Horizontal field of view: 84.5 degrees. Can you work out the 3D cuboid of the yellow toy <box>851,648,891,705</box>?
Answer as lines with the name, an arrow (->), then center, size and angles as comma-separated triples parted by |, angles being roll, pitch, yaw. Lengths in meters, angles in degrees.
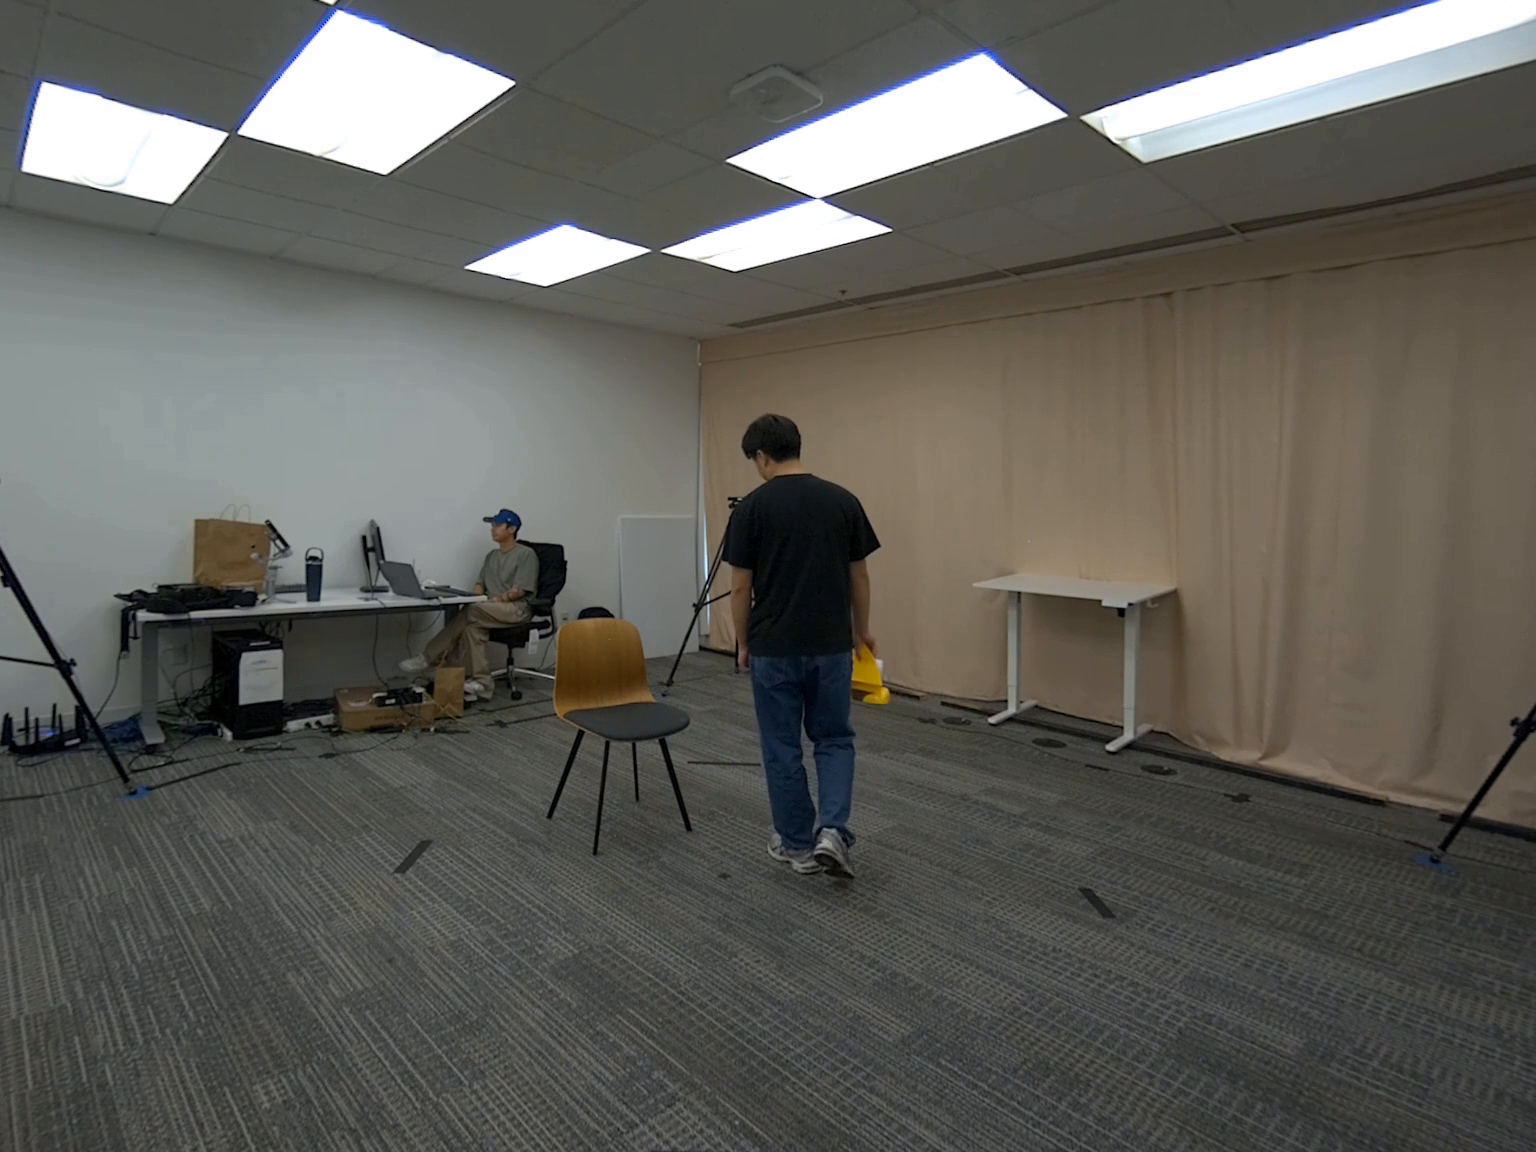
yellow toy -> 0.376, 0.387, 3.387 | 0.209, 0.231, 0.189 | 6, 1, 30
